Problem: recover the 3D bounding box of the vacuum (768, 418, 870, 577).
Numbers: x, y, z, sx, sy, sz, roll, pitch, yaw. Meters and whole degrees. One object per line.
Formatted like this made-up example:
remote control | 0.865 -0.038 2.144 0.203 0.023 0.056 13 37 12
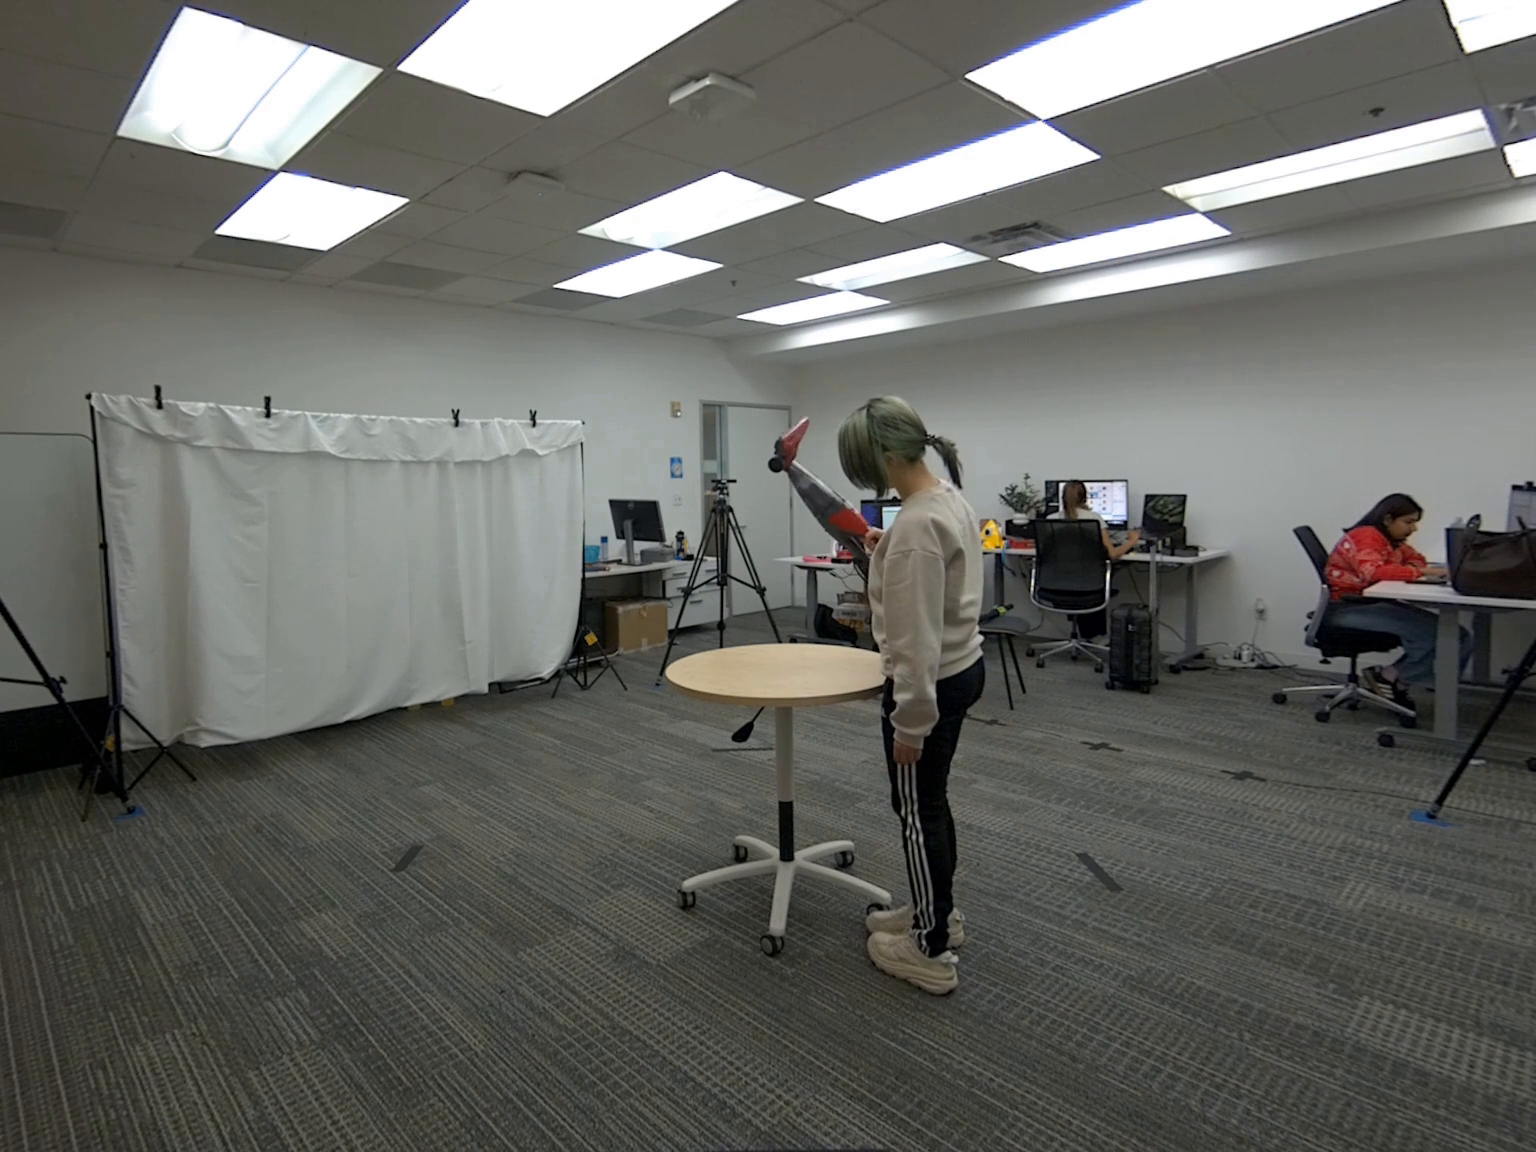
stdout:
vacuum | 0.368 -0.015 2.797 0.145 1.041 0.252 -33 7 32
